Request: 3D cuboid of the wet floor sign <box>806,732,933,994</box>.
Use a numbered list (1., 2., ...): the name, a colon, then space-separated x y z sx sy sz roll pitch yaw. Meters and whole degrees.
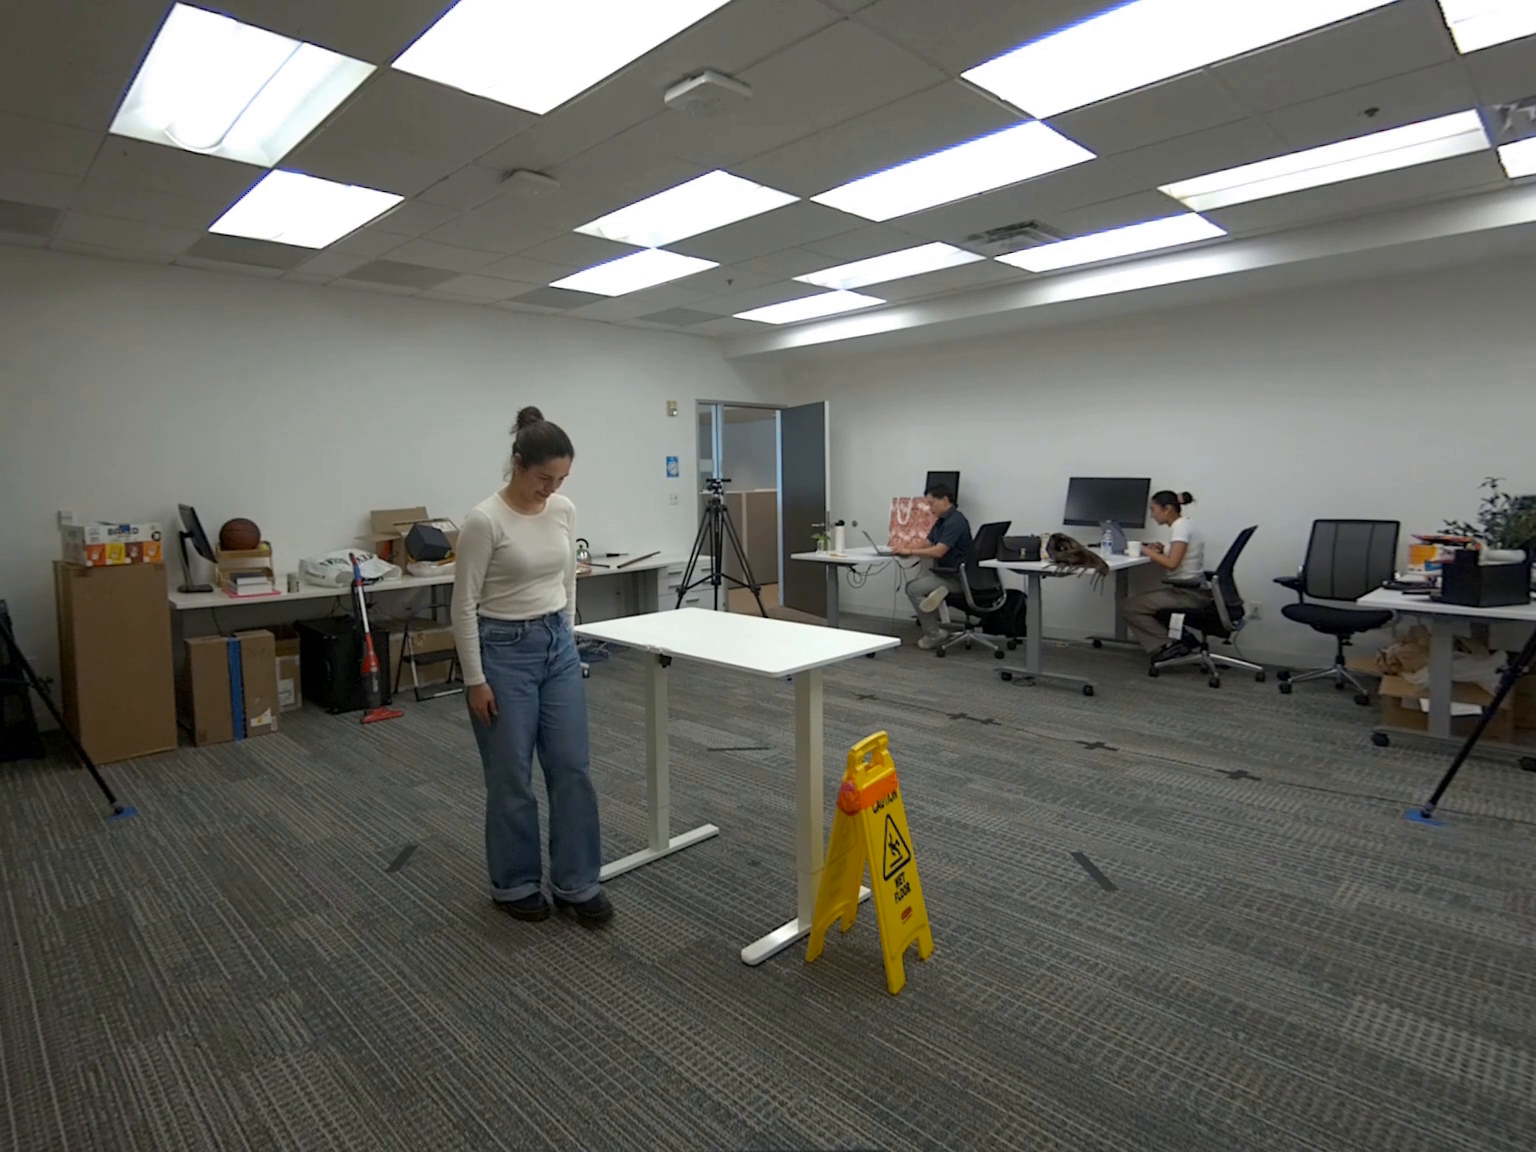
1. wet floor sign: 0.297 0.786 2.467 0.298 0.643 0.275 3 7 36
